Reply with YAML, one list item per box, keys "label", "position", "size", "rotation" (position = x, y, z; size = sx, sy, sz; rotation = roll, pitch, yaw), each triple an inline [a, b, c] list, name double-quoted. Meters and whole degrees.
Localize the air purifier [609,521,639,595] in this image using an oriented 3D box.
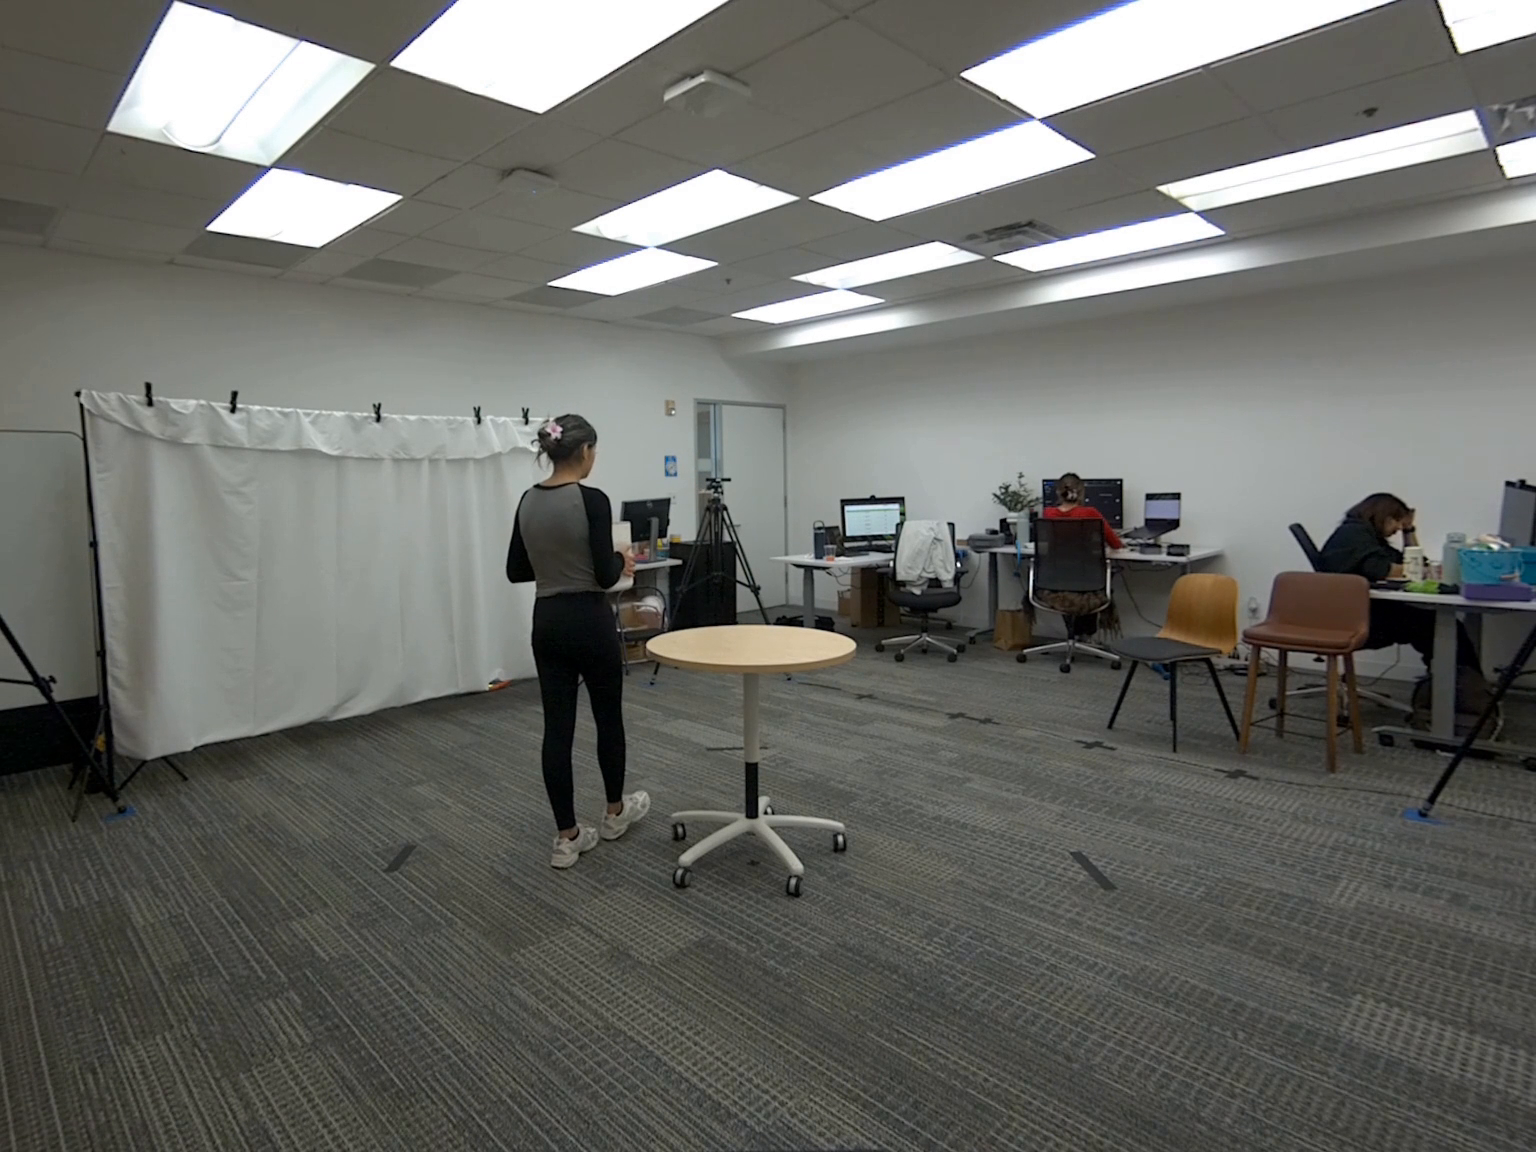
- label: "air purifier"
  position: [-0.635, -0.075, 3.348]
  size: [0.175, 0.264, 0.168]
  rotation: [-1, 5, 31]
